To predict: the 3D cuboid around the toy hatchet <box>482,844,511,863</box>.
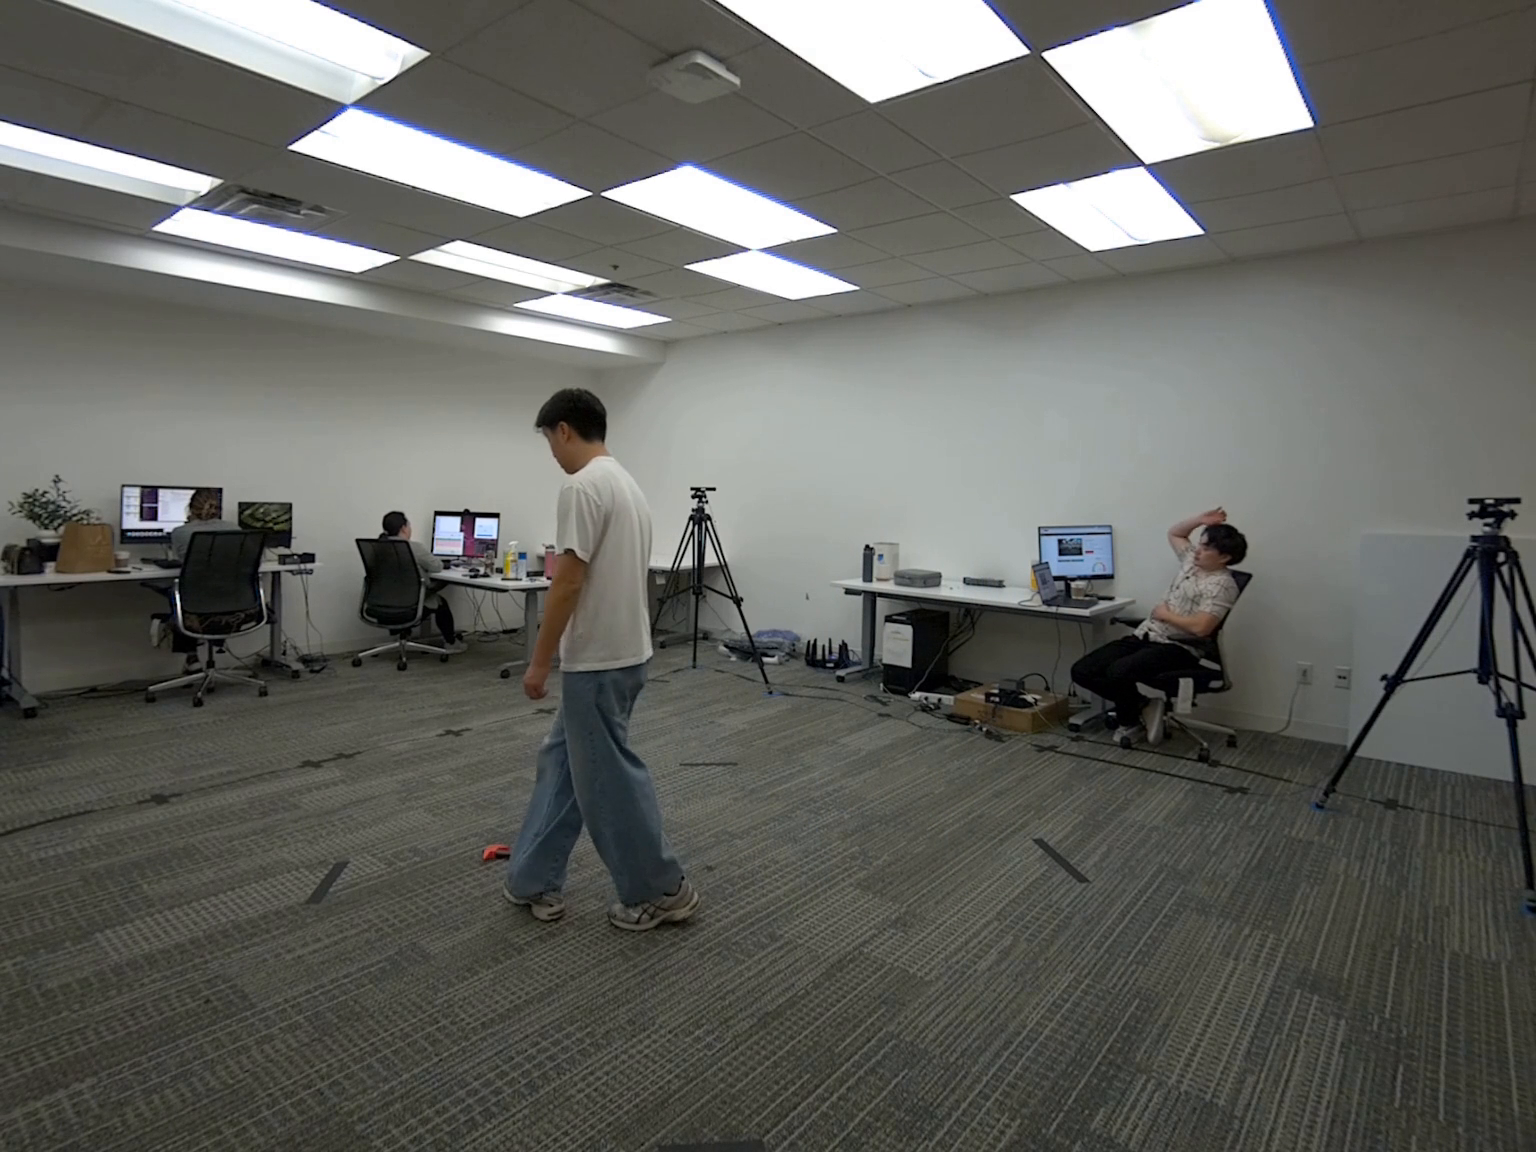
[{"bbox_3d":[-0.940,1.030,3.193,0.267,0.029,0.133,3,1,-12],"label":"toy hatchet"}]
